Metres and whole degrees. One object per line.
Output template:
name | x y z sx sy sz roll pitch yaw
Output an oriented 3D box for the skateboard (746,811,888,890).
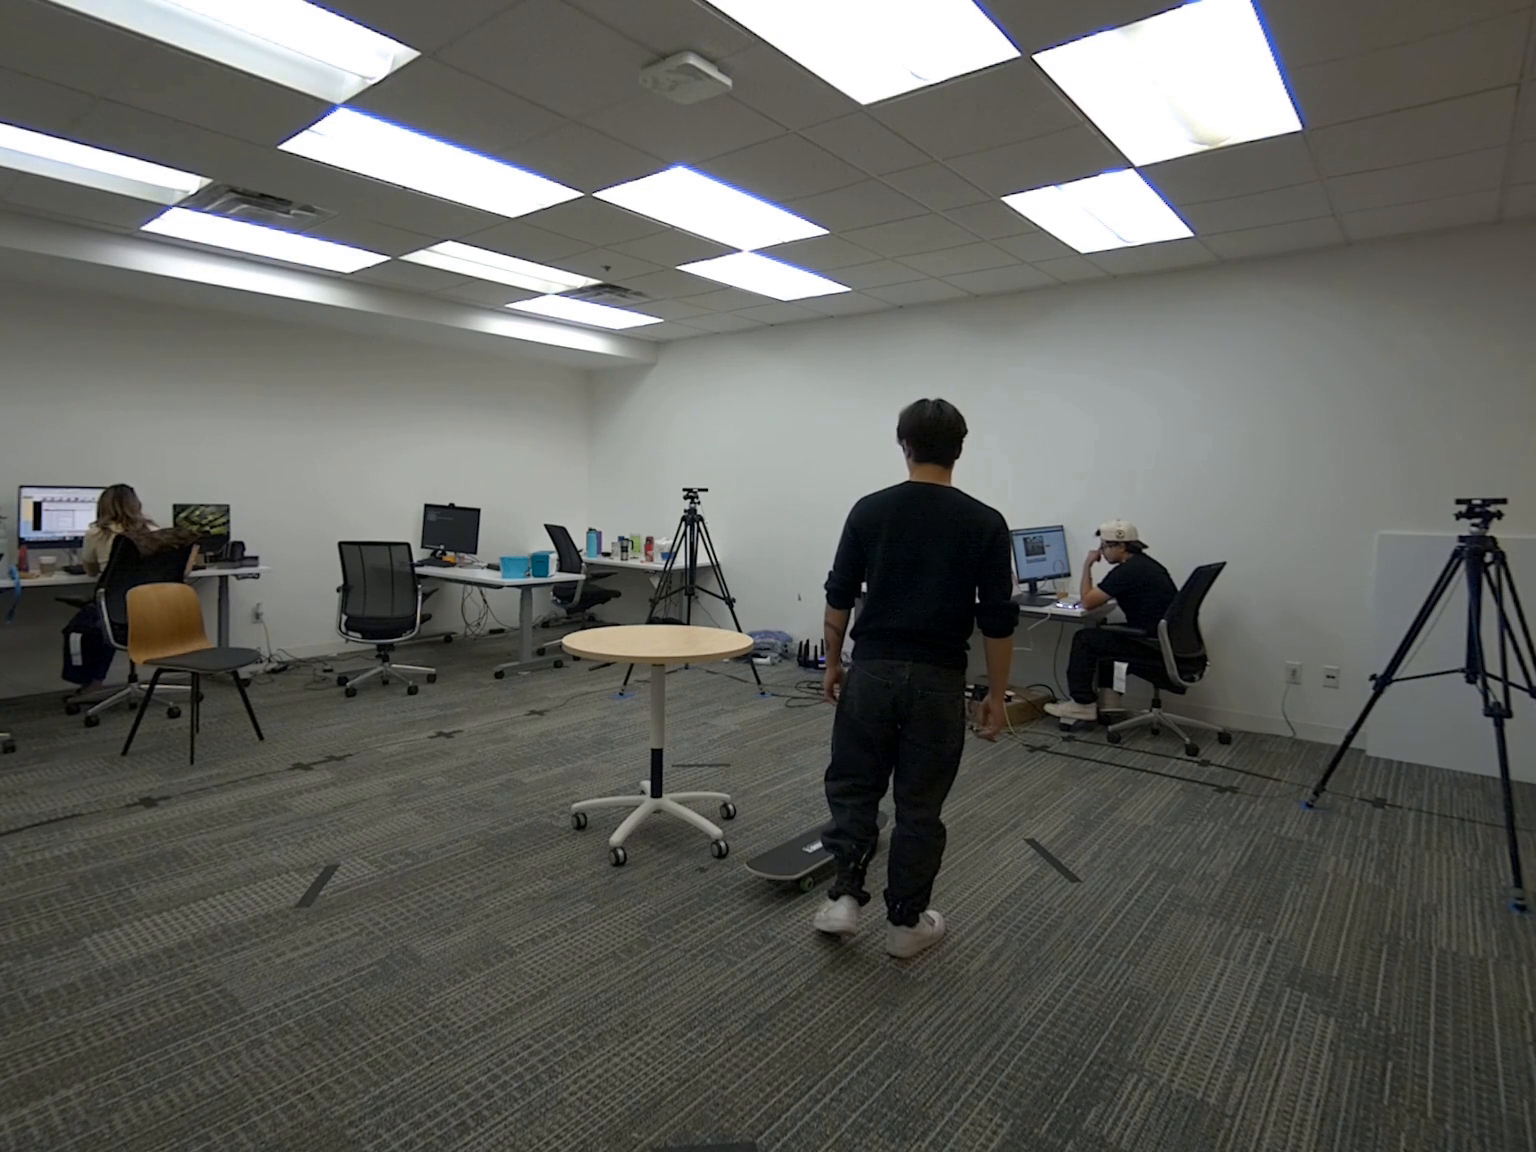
skateboard | 0.196 1.024 3.155 0.200 0.110 0.762 6 7 40
